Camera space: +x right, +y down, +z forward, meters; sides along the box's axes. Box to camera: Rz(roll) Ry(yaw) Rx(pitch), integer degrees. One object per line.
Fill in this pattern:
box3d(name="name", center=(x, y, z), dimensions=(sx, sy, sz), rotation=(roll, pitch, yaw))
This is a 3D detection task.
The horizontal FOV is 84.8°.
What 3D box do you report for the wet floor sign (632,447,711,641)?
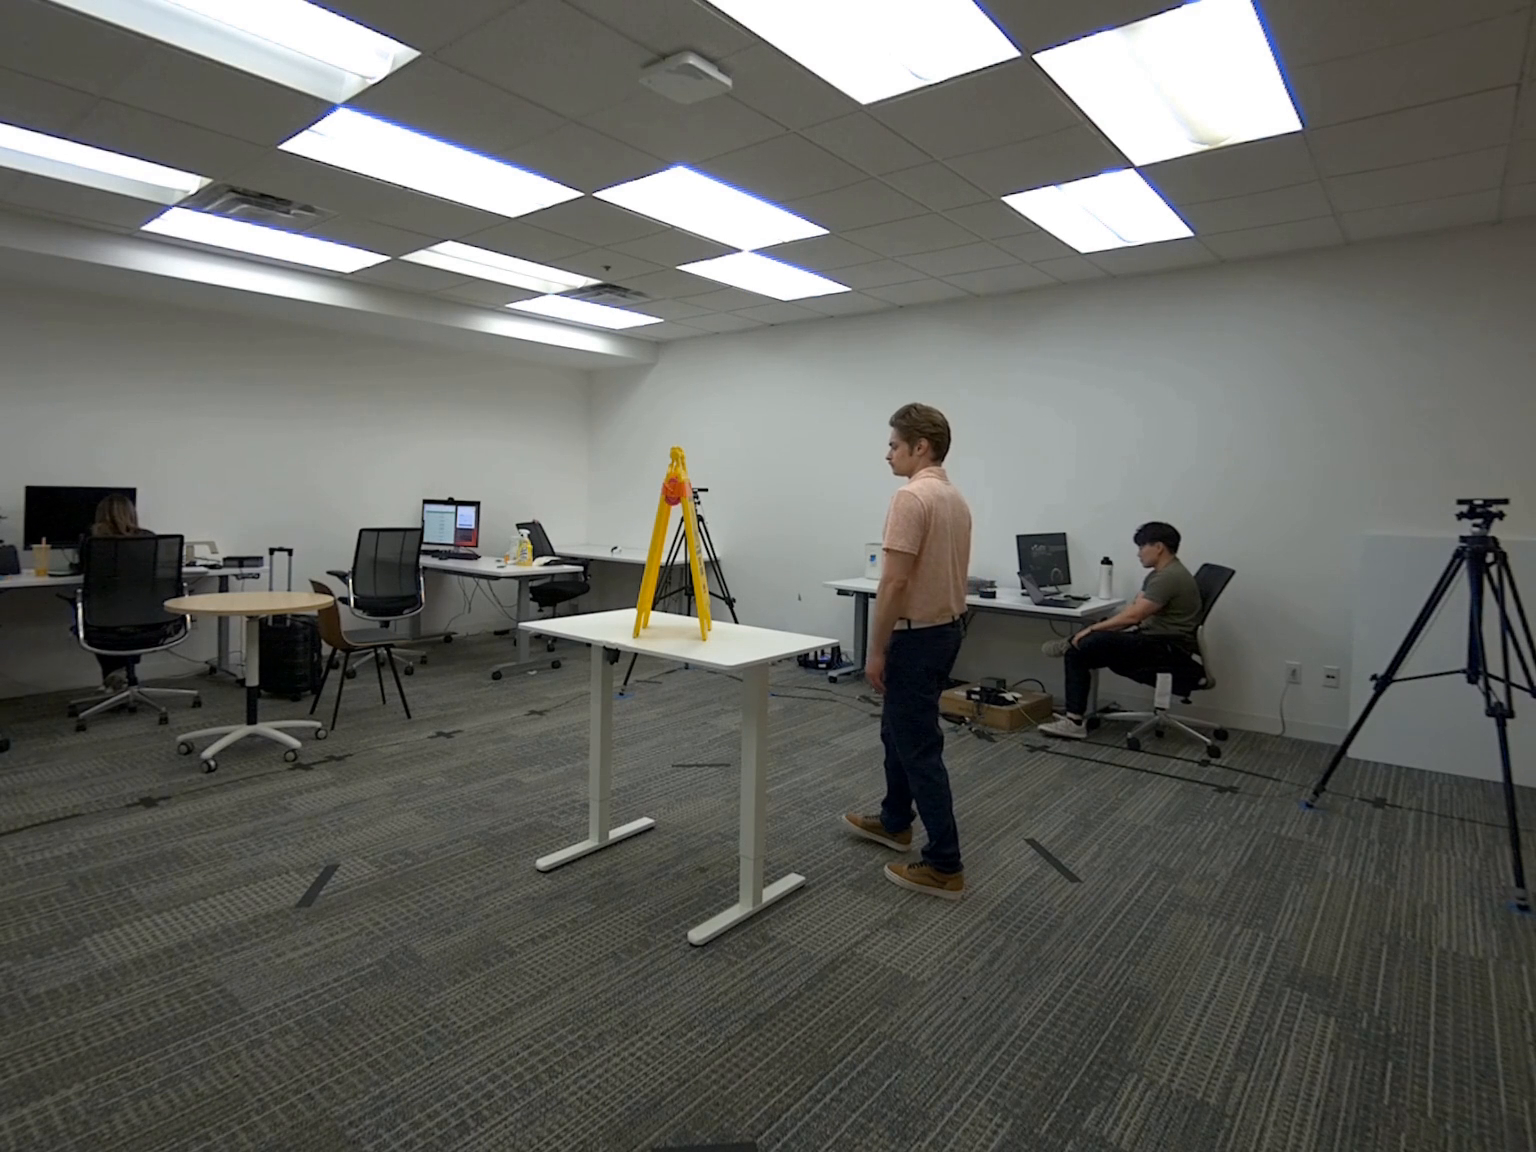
box3d(name="wet floor sign", center=(-0.330, -0.126, 2.967), dimensions=(0.290, 0.643, 0.283), rotation=(2, 4, 0))
